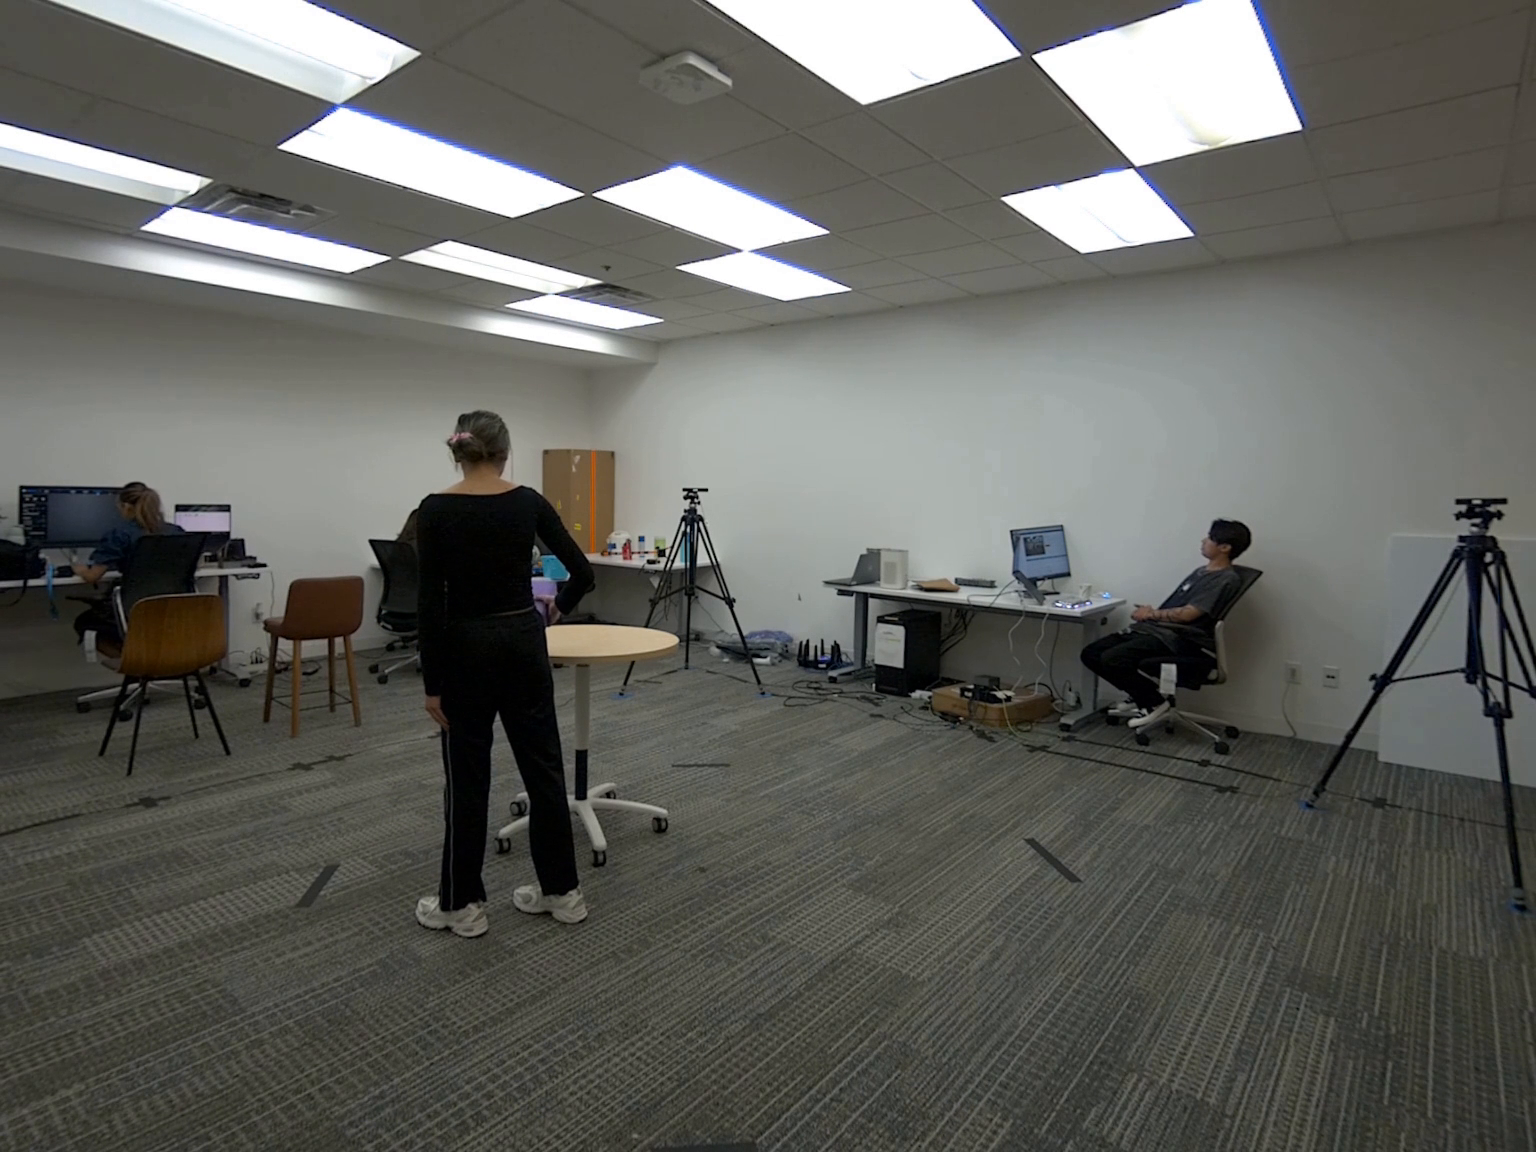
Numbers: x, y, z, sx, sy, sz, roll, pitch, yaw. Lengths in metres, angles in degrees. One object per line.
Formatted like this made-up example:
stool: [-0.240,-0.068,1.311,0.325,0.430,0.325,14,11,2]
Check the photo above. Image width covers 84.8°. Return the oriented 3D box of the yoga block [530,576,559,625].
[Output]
yoga block: [-0.866,0.101,3.034,0.149,0.075,0.235,1,29,-1]
